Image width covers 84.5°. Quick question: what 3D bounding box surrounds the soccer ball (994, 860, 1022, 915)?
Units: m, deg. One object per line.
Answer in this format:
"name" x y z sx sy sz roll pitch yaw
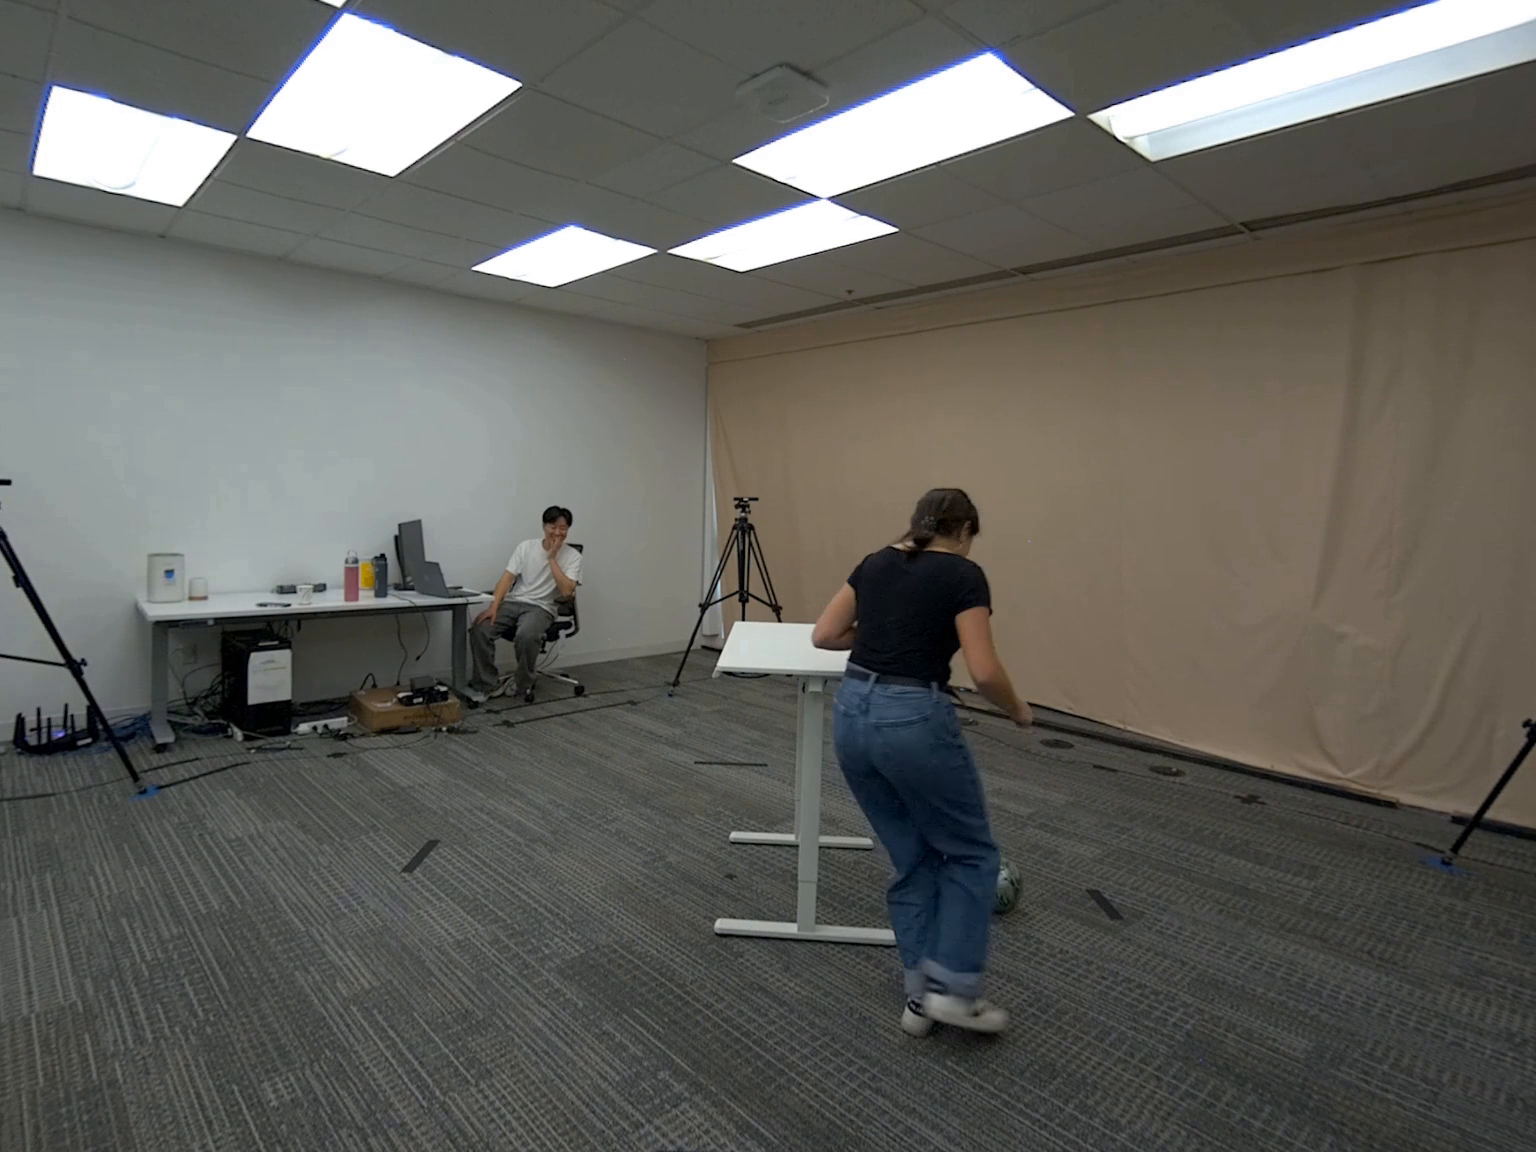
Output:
"soccer ball" 0.779 1.061 2.900 0.187 0.187 0.188 1 4 -1
